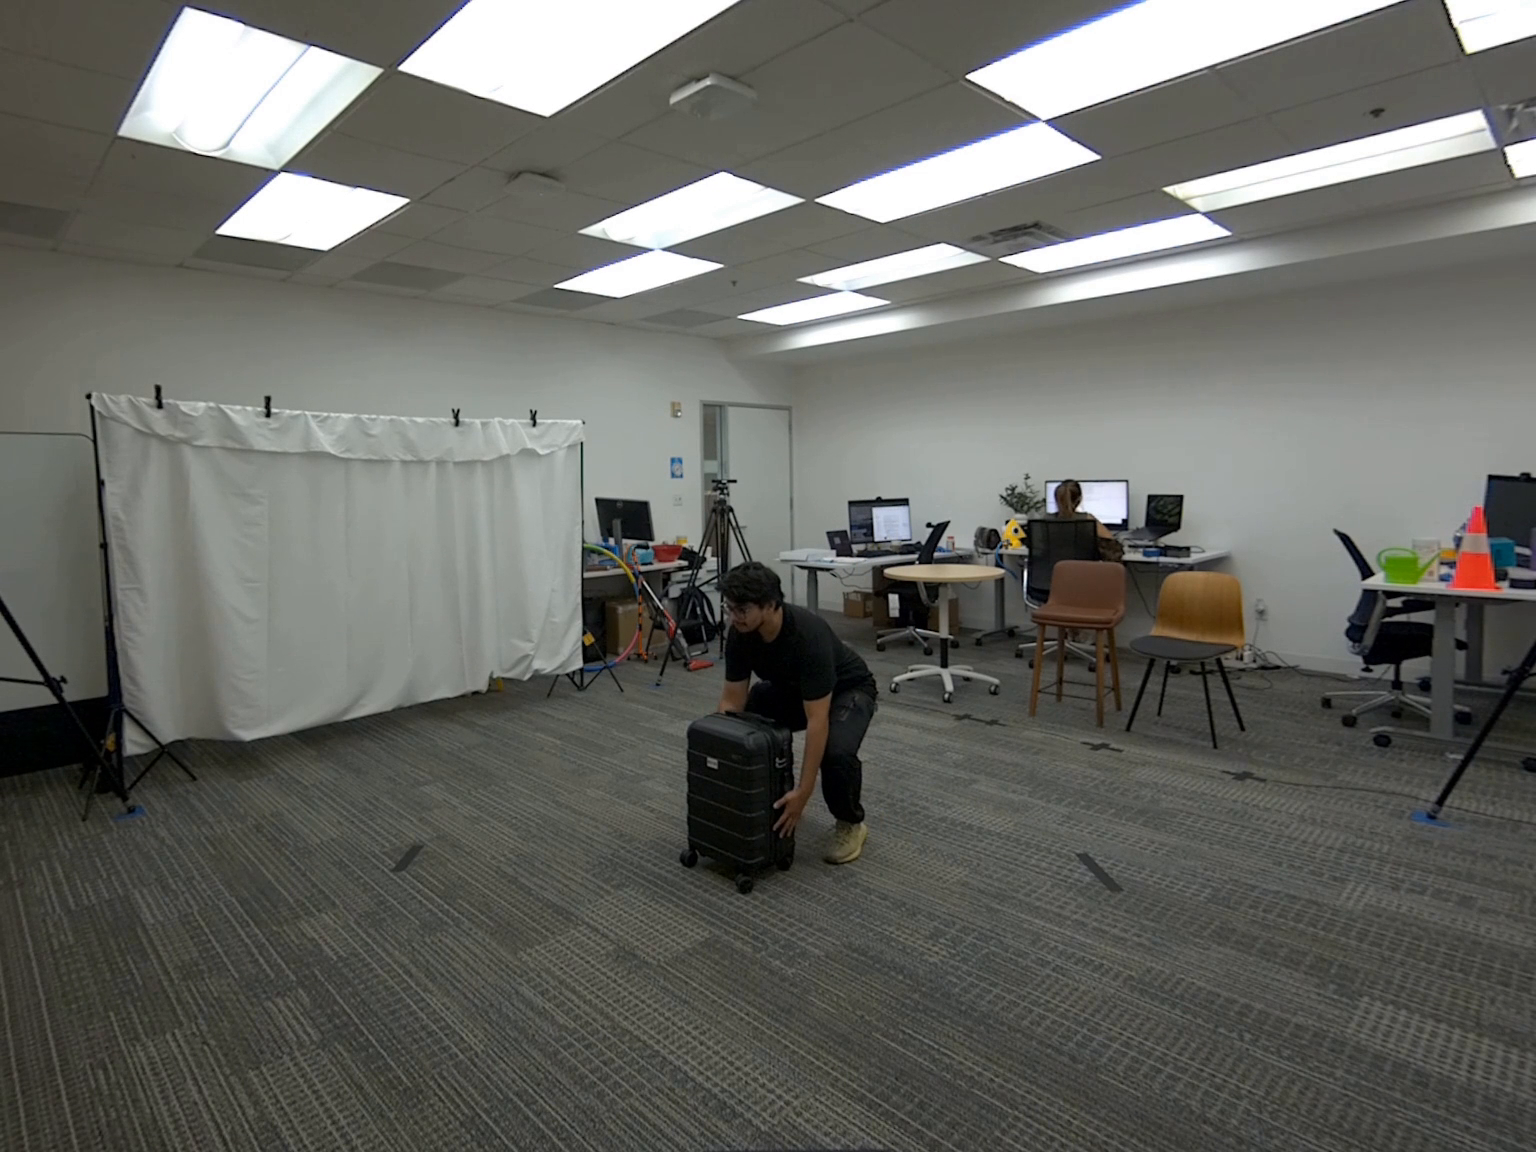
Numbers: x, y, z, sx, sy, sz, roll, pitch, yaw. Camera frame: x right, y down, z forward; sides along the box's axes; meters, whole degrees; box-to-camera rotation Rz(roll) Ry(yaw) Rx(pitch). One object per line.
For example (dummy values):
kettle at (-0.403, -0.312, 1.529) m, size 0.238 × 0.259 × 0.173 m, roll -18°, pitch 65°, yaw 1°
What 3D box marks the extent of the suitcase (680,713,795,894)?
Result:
suitcase at (-0.101, 0.782, 3.066) m, size 0.387 × 0.547 × 0.241 m, roll 5°, pitch 6°, yaw 43°
